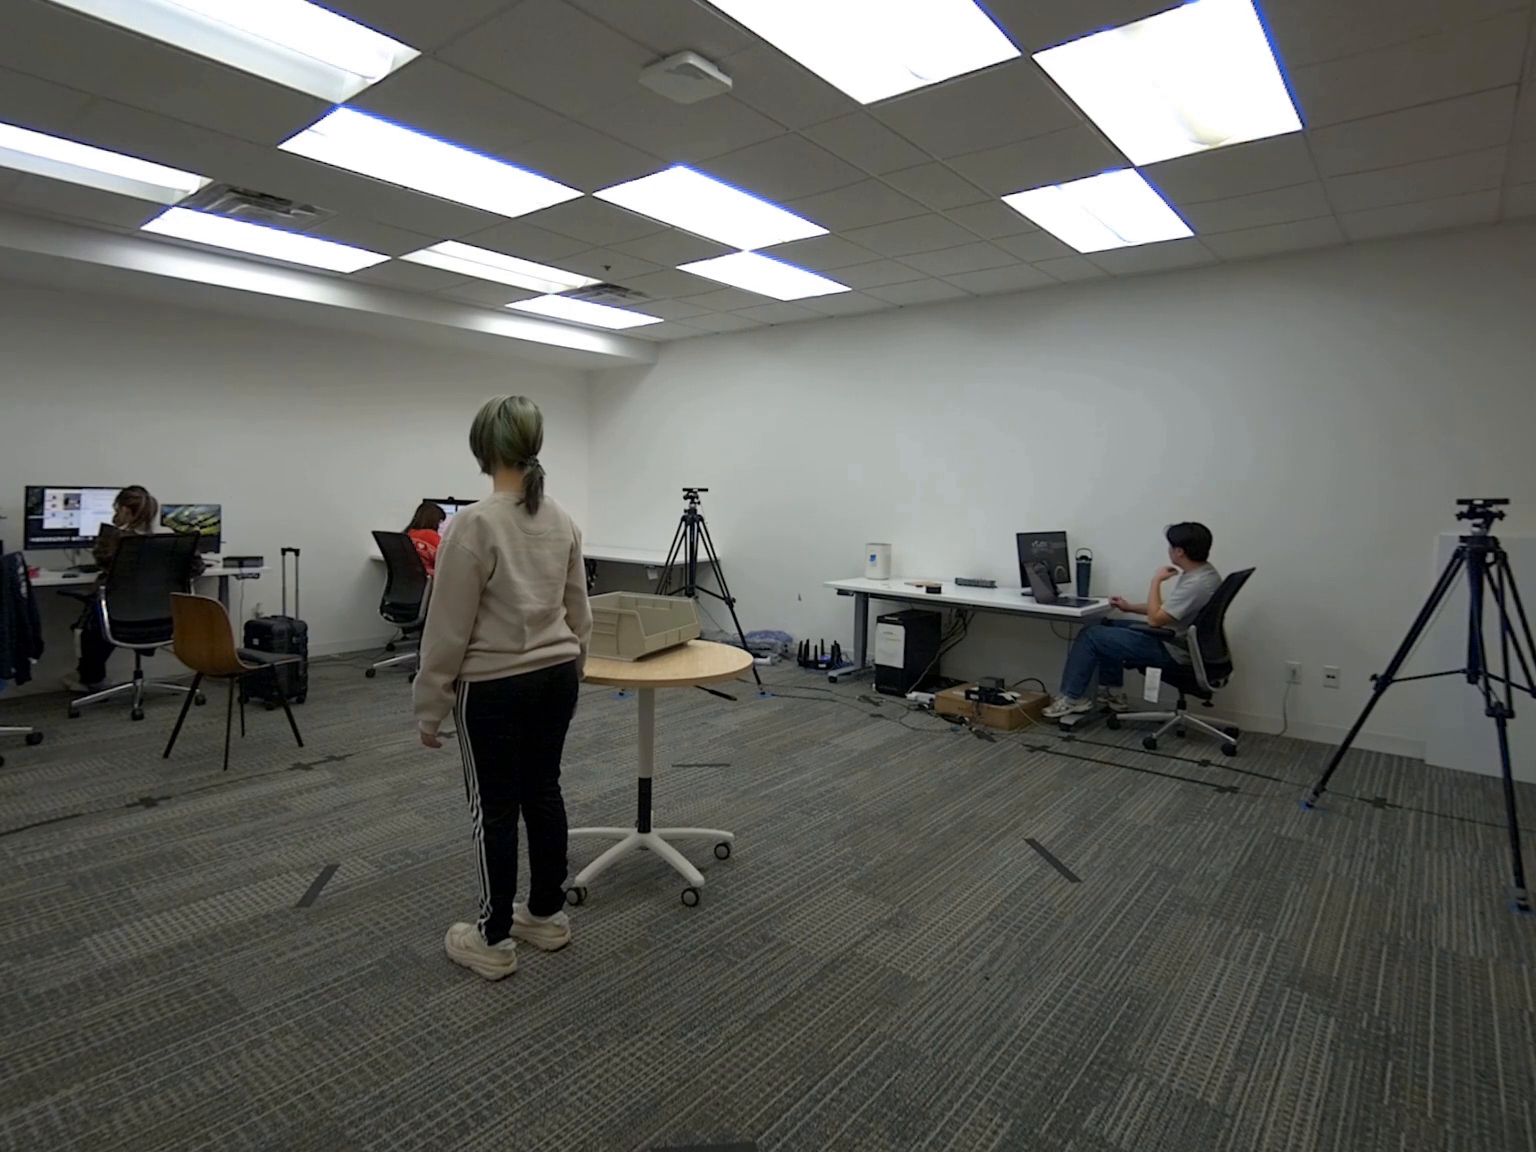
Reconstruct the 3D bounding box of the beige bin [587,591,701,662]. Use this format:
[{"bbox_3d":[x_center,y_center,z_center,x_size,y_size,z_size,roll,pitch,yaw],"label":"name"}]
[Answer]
[{"bbox_3d":[-0.522,0.183,3.183,0.387,0.188,0.413,2,6,24],"label":"beige bin"}]
